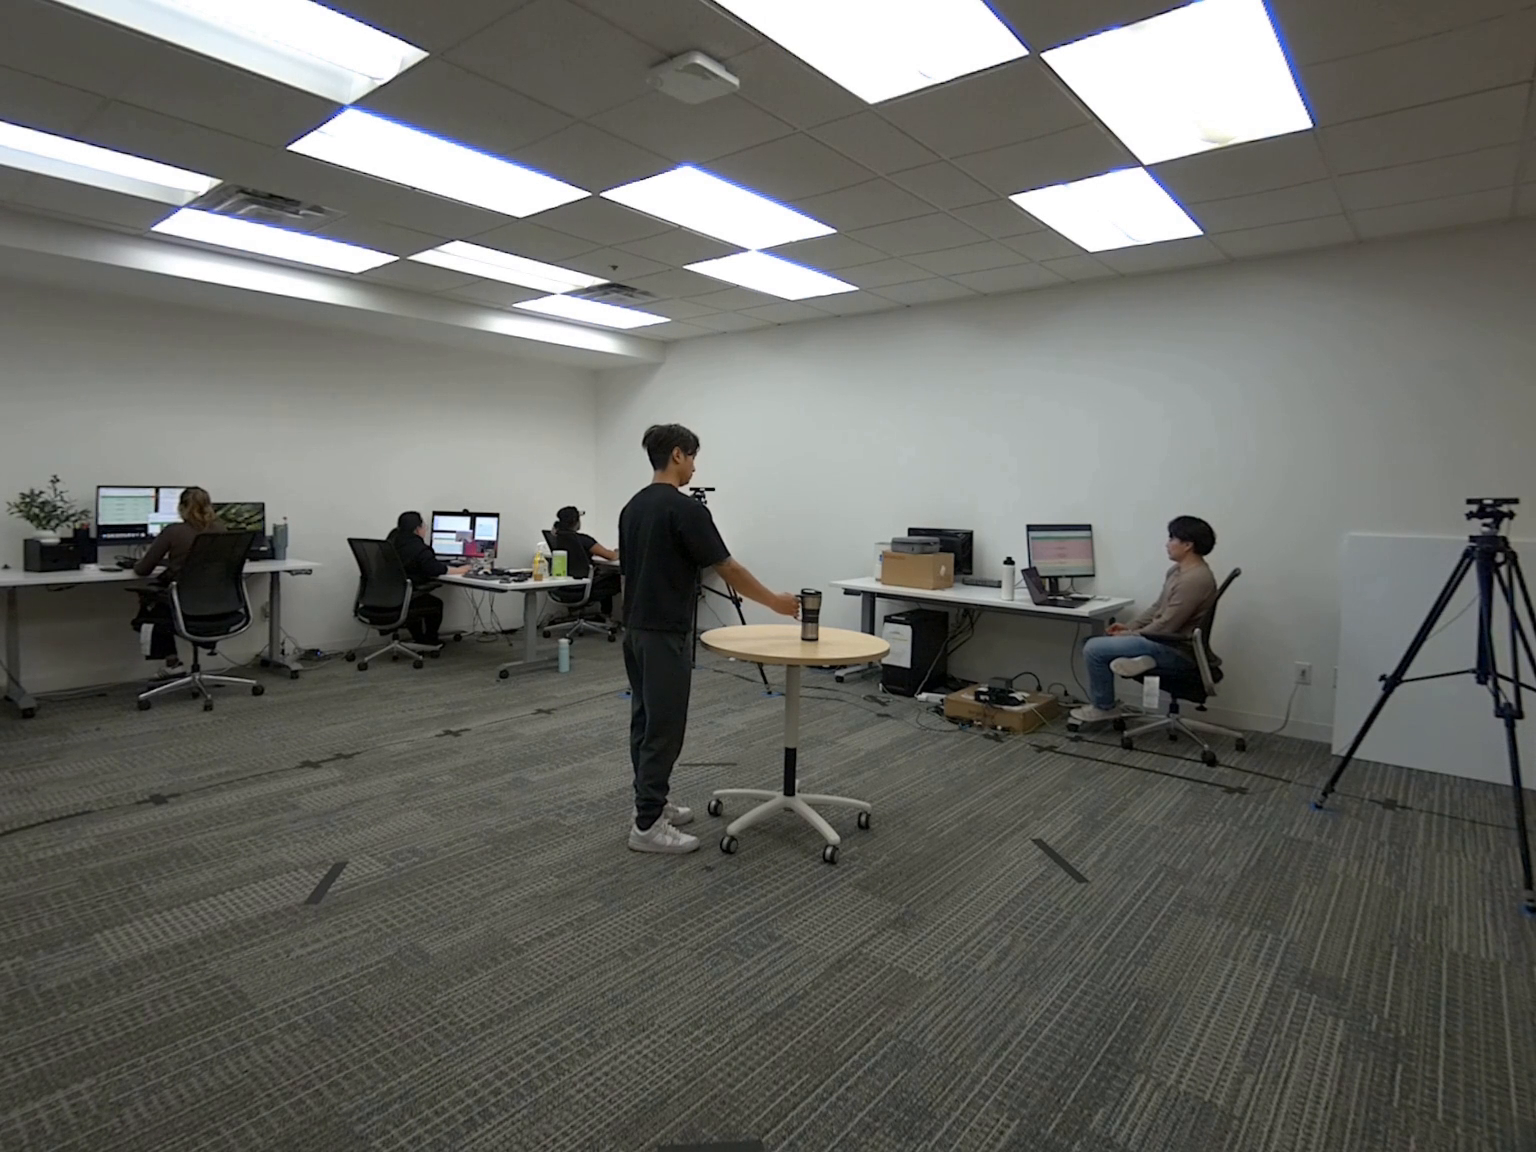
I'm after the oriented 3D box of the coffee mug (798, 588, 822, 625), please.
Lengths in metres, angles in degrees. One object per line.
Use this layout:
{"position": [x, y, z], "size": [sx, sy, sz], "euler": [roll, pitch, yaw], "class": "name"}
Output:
{"position": [0.148, 0.158, 3.472], "size": [0.126, 0.202, 0.085], "euler": [8, 8, 34], "class": "coffee mug"}
